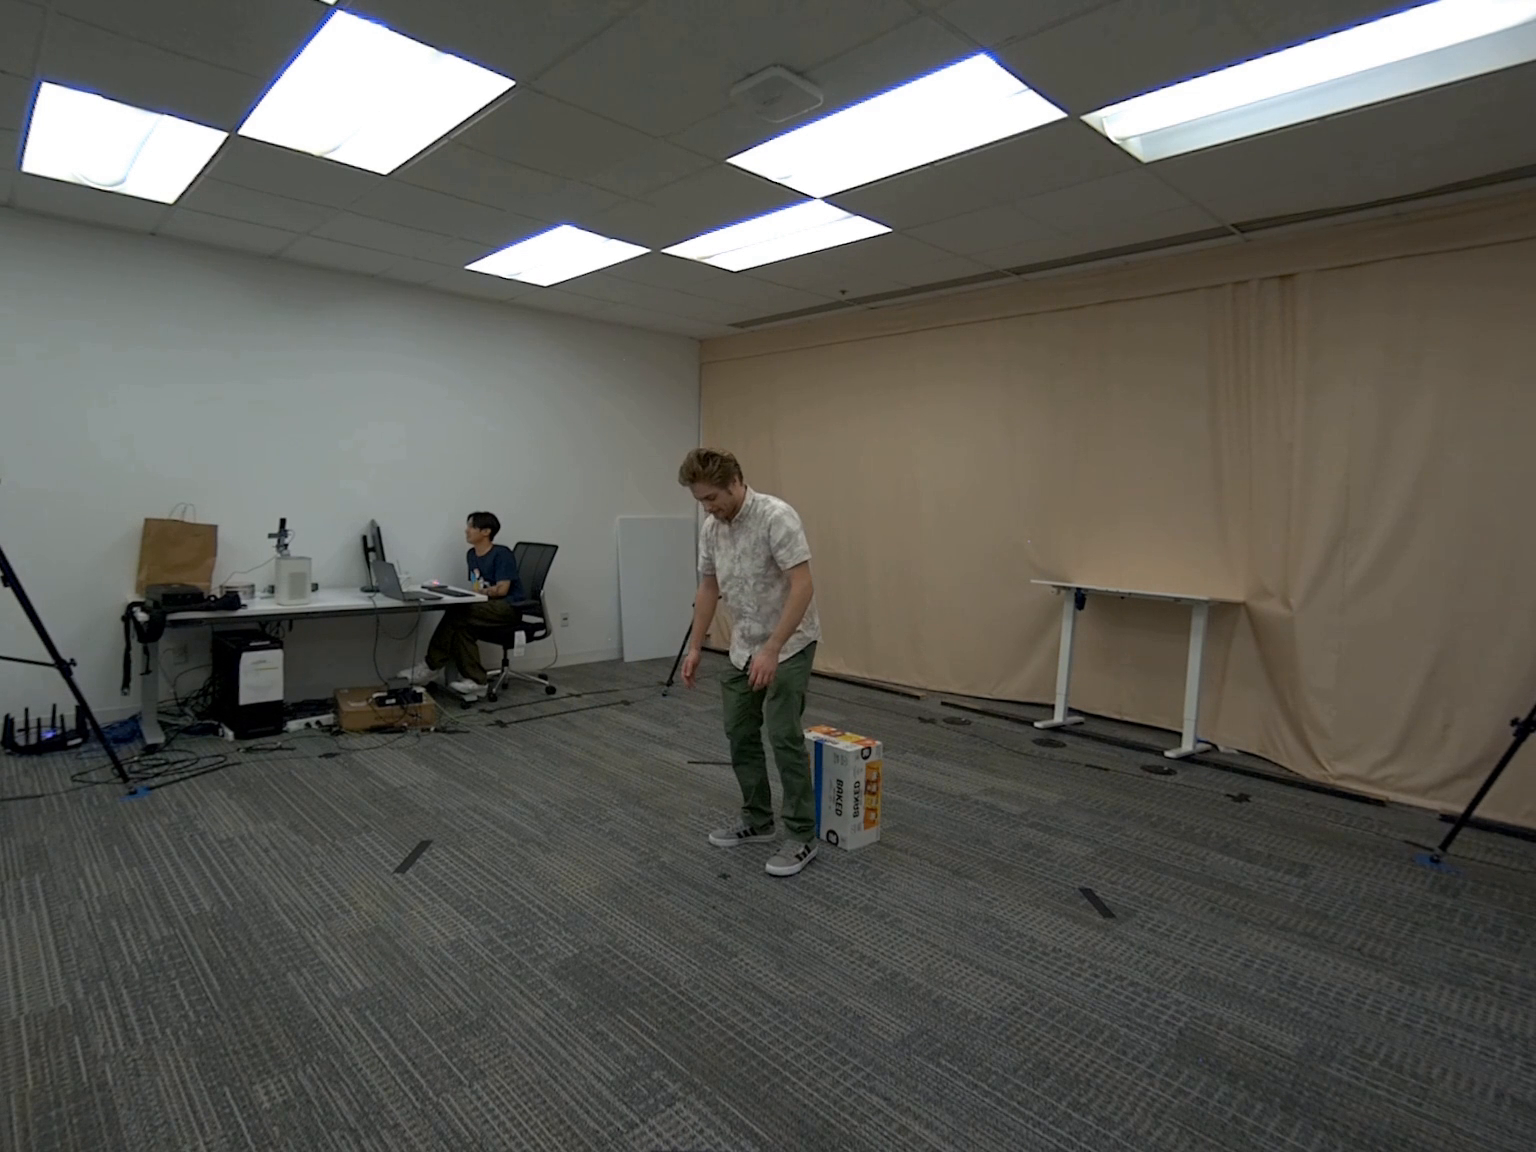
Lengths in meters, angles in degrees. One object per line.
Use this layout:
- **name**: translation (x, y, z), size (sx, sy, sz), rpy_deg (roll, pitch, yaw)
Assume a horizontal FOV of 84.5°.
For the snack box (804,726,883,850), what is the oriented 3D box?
- **snack box**: translation (0.275, 0.878, 3.537), size (0.201, 0.404, 0.349), rpy_deg (-1, 4, -41)
